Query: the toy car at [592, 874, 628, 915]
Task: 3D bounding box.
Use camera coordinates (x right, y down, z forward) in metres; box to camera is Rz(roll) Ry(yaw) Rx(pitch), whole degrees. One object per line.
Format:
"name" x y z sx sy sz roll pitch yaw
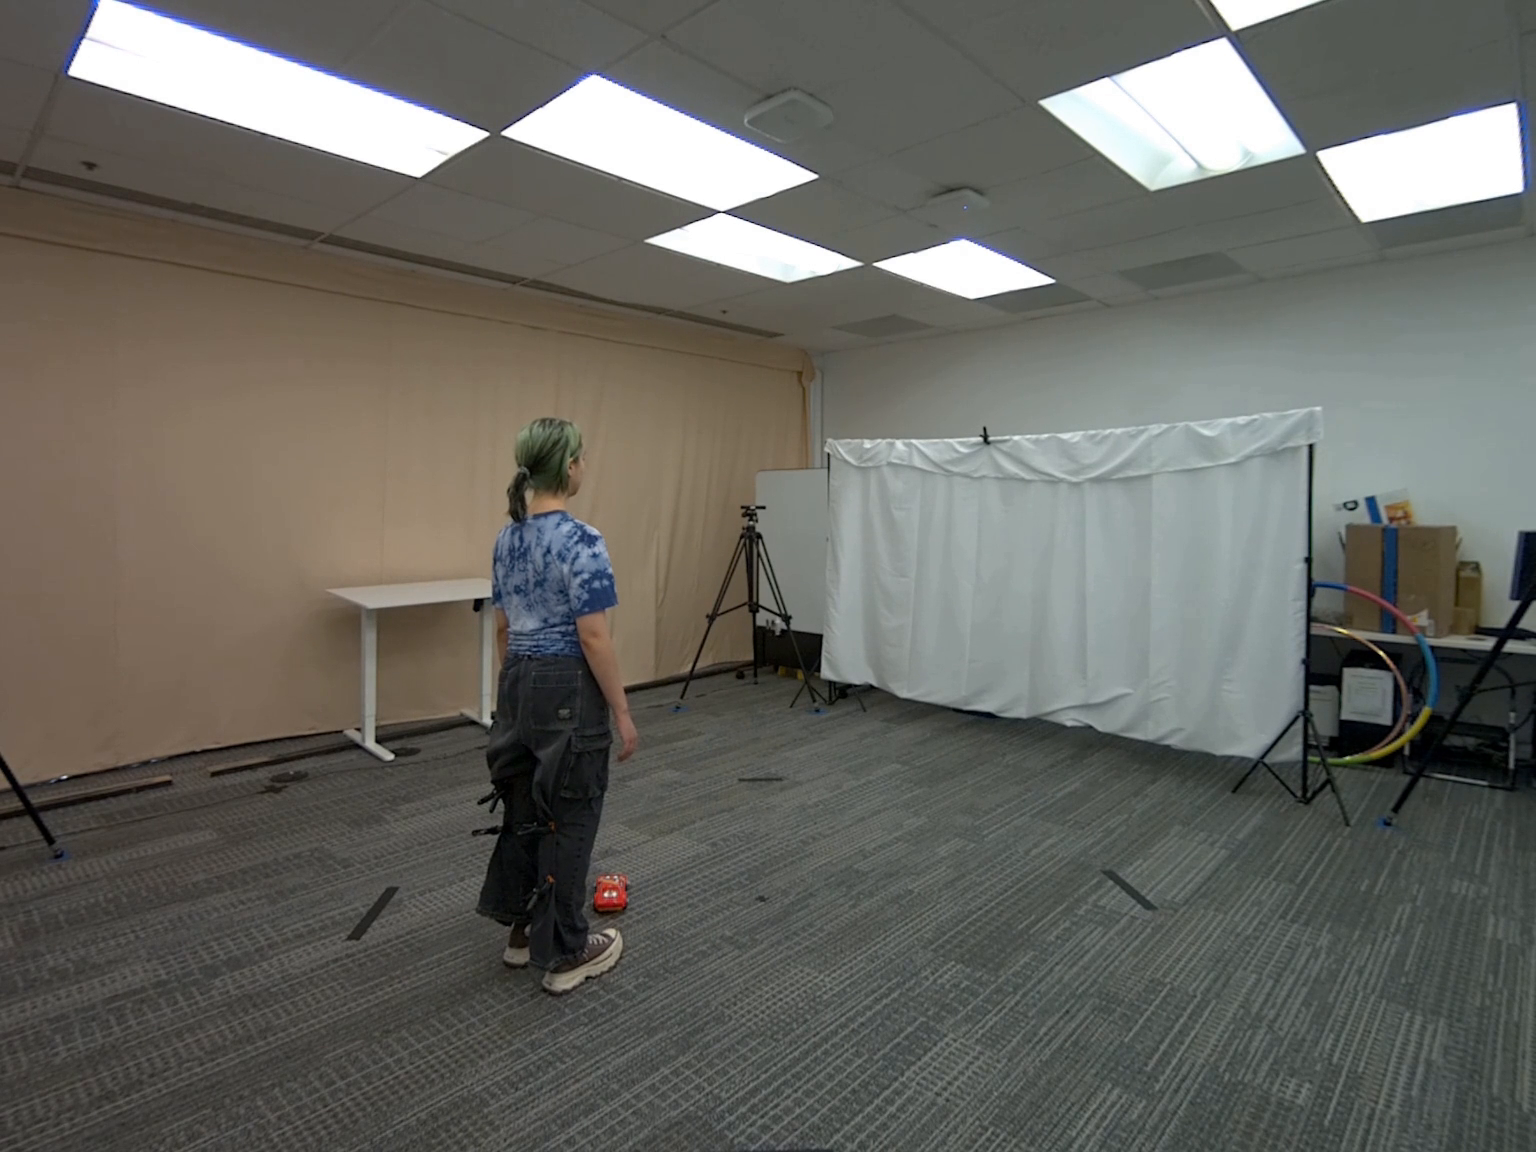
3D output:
"toy car" -0.556 1.119 2.960 0.129 0.083 0.255 1 -7 -7
